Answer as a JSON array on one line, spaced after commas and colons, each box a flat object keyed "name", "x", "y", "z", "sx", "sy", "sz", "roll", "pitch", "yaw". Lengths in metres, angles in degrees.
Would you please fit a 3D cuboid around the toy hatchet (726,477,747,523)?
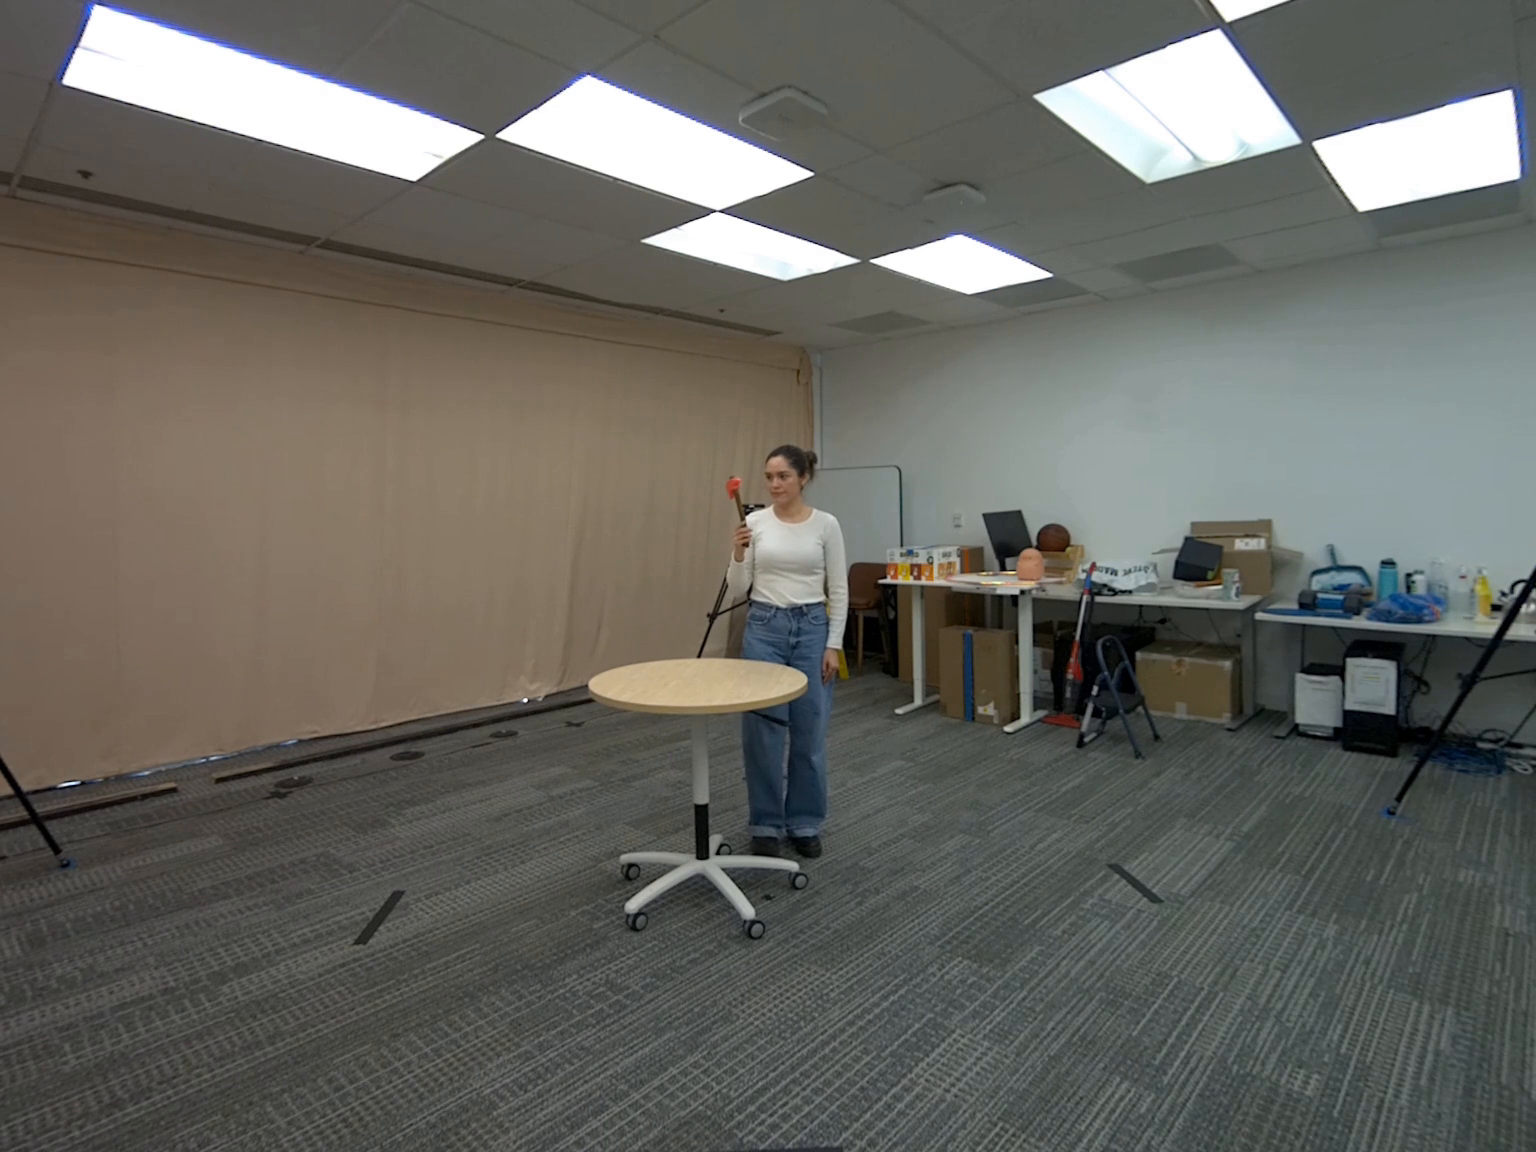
[{"name": "toy hatchet", "x": -0.114, "y": -0.252, "z": 3.207, "sx": 0.029, "sy": 0.267, "sz": 0.135, "roll": -16, "pitch": 18, "yaw": -24}]
